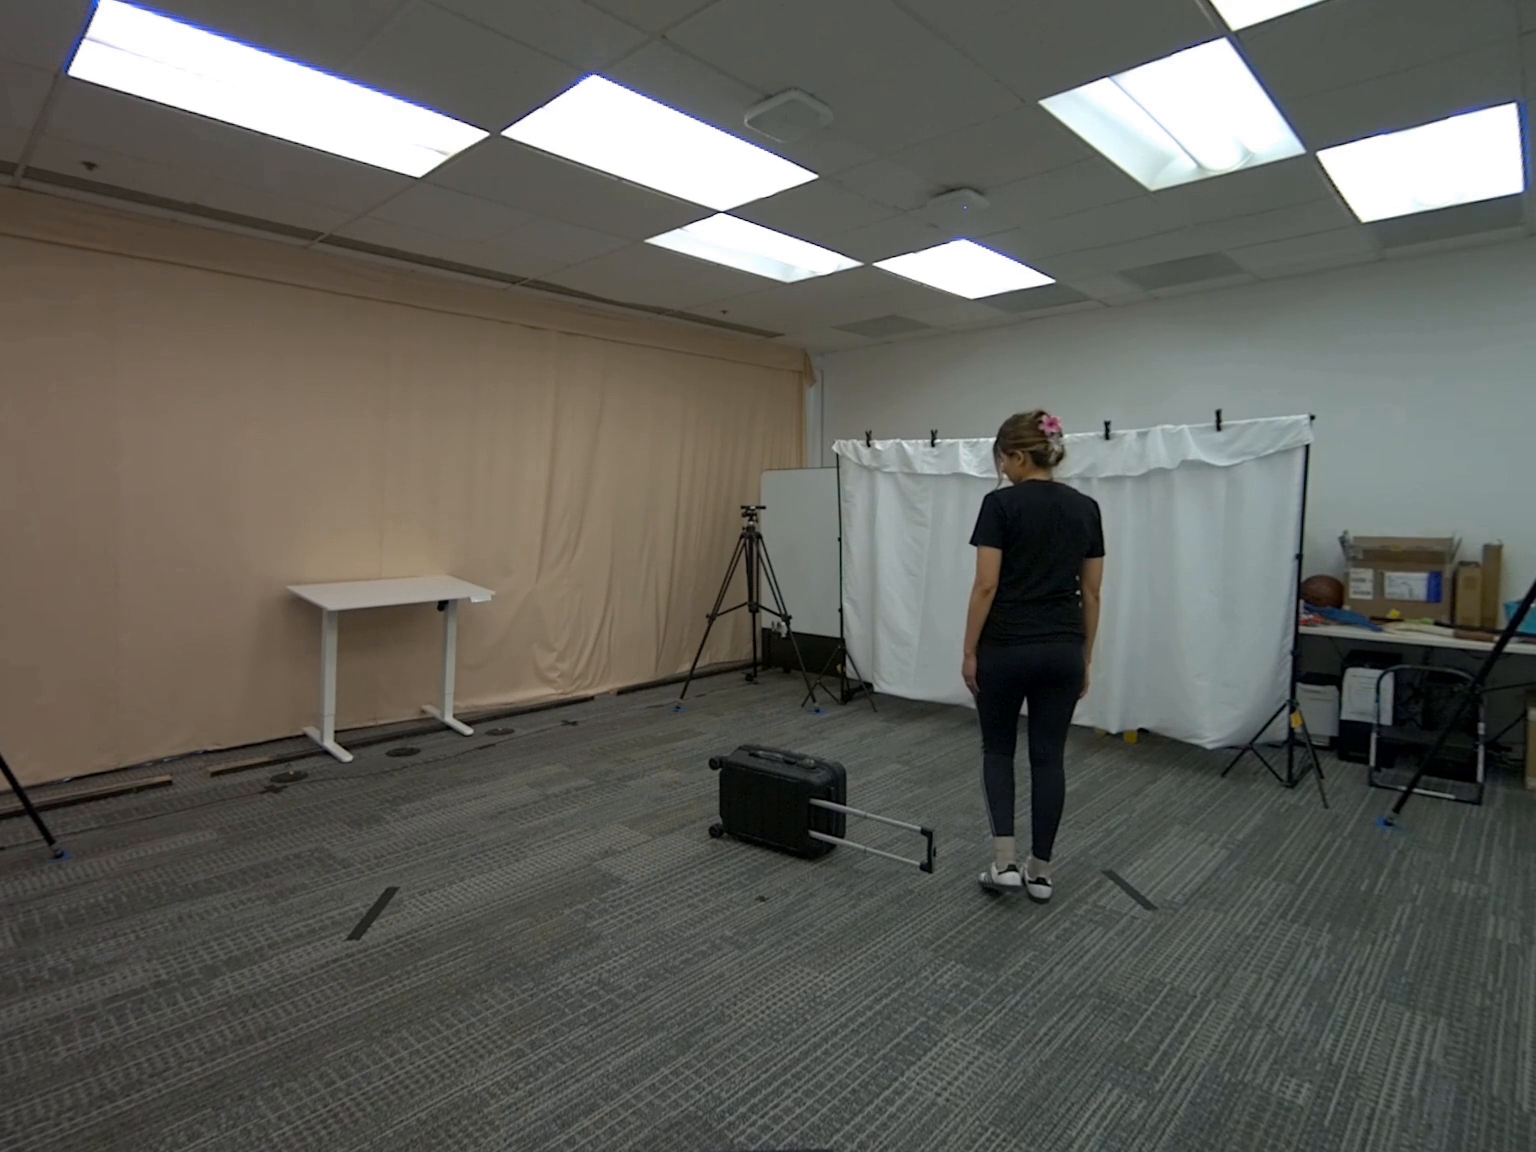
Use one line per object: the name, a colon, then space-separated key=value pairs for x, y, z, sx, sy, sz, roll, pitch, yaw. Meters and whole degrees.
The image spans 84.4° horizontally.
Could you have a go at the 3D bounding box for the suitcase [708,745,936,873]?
suitcase: x=0.221 y=0.924 z=3.350 sx=1.009 sy=0.383 sz=0.250 roll=3 pitch=5 yaw=34
